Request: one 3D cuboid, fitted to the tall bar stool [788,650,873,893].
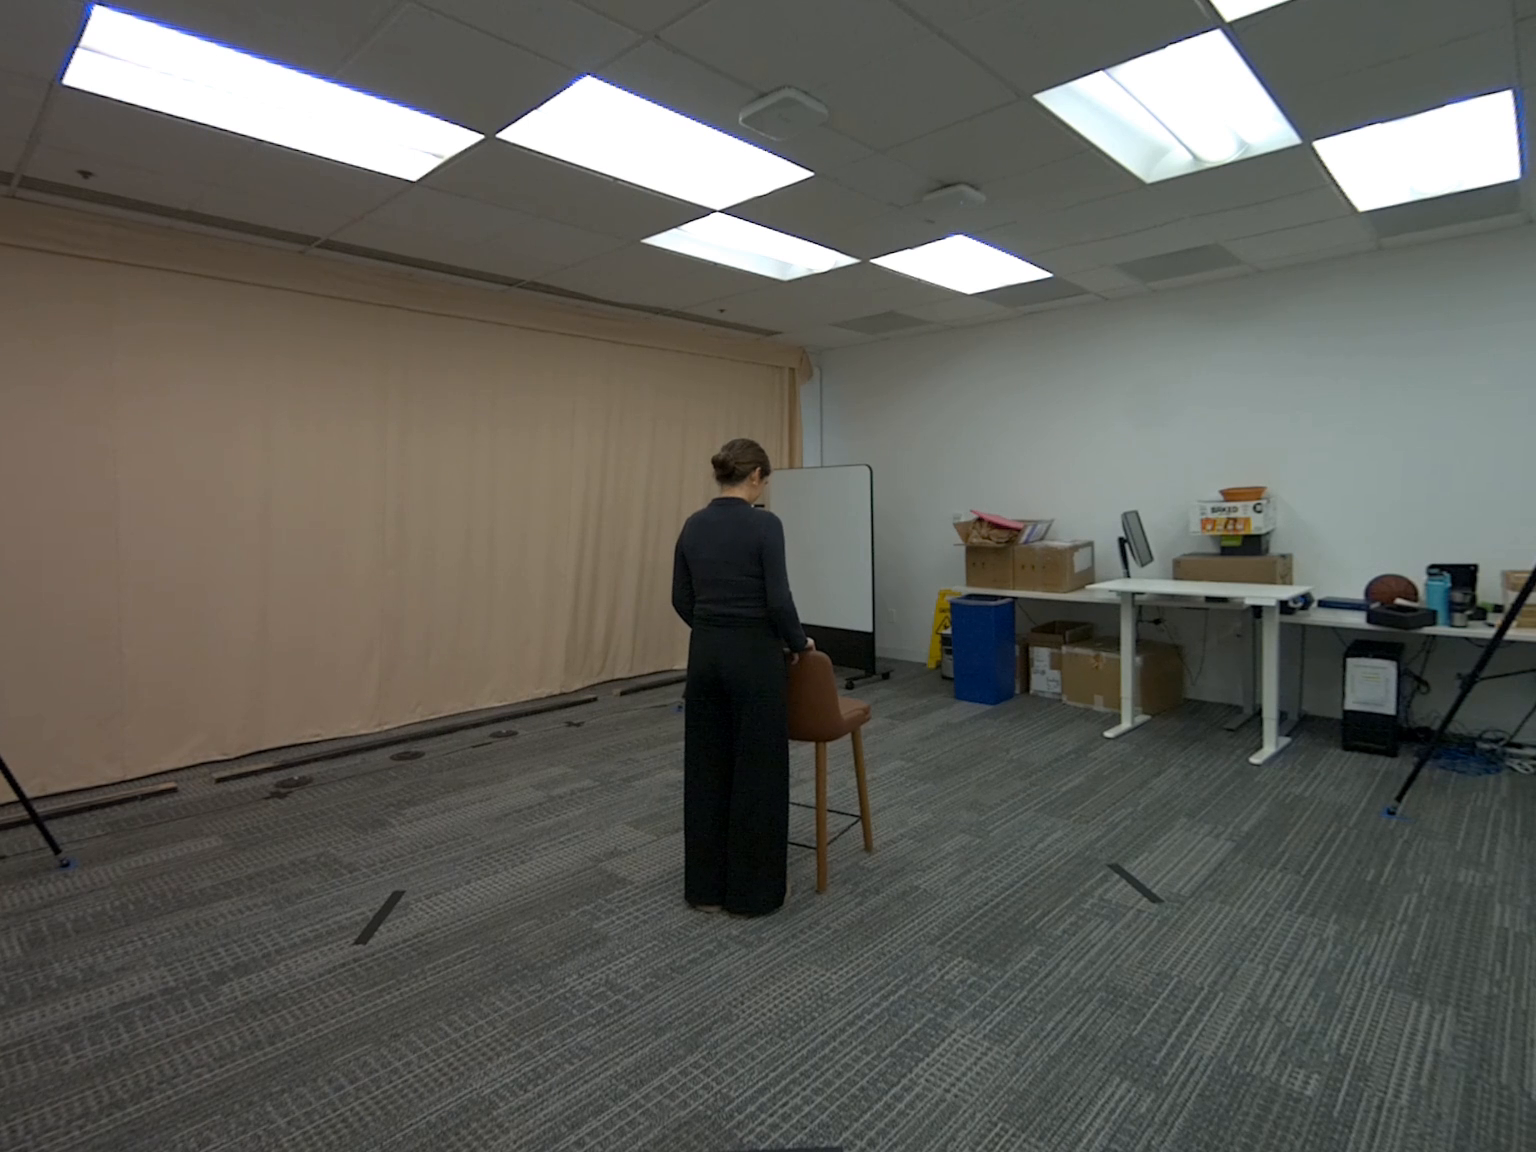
[{"bbox_3d":[0.132,0.676,3.254,0.470,0.887,0.456,2,6,30],"label":"tall bar stool"}]
